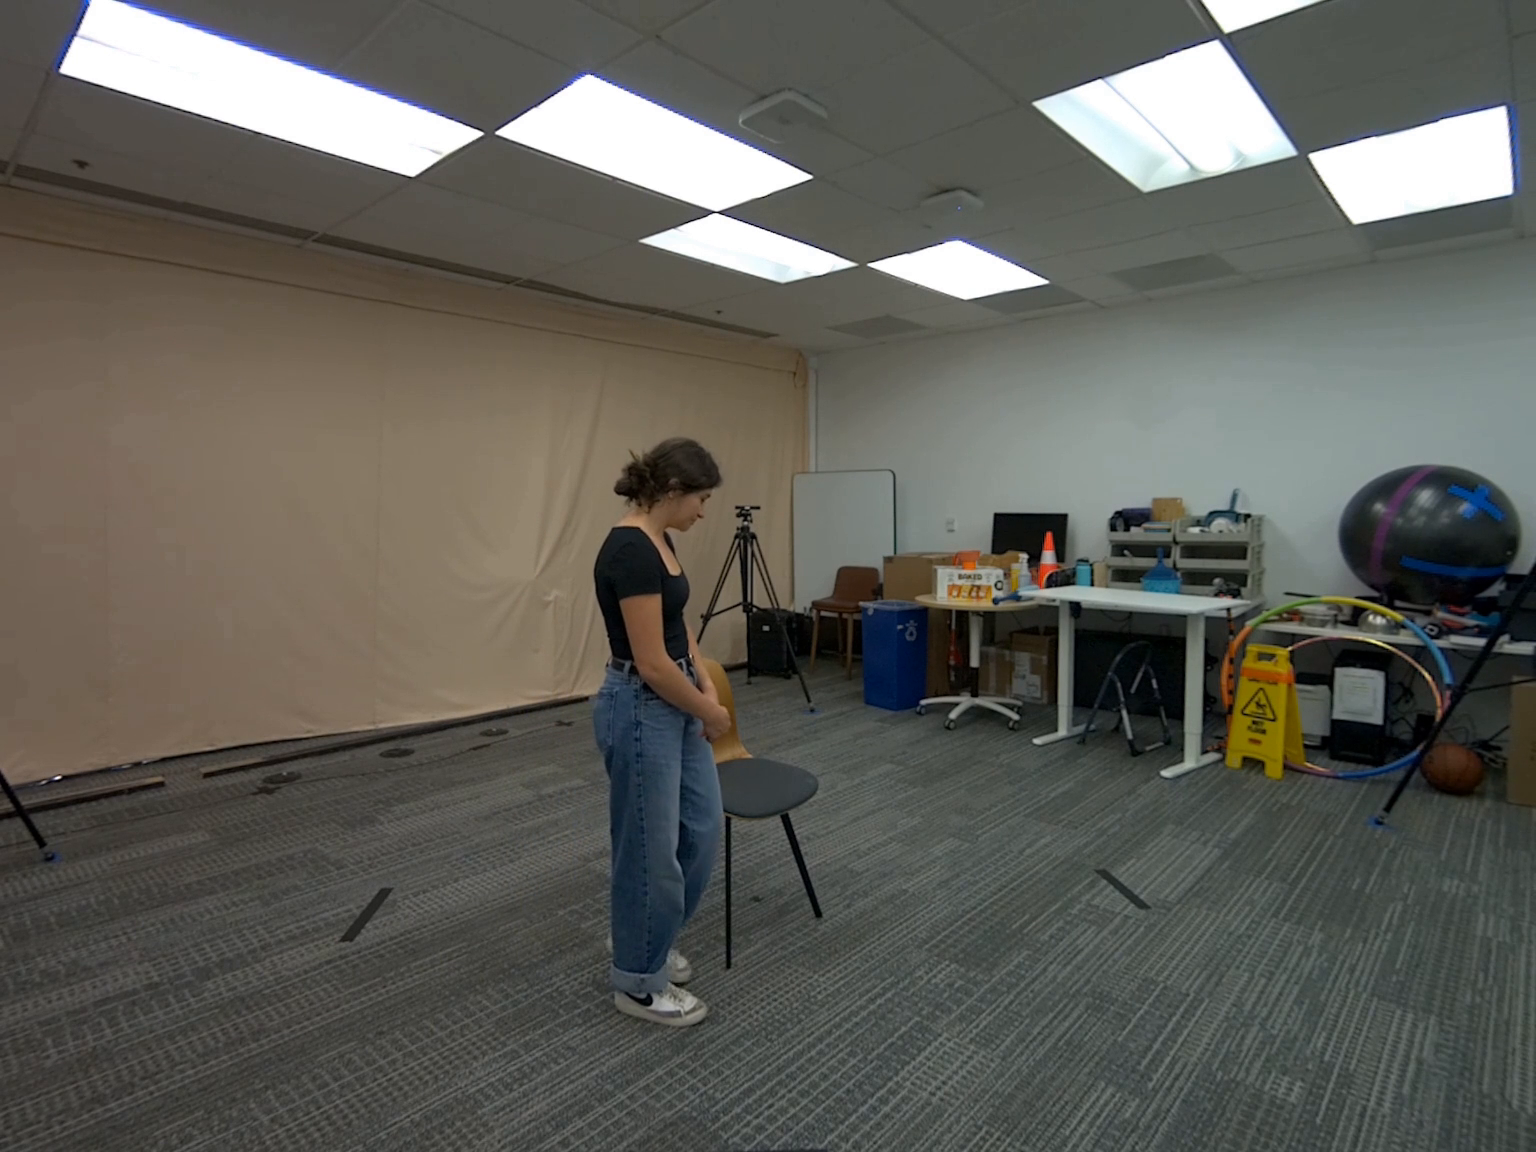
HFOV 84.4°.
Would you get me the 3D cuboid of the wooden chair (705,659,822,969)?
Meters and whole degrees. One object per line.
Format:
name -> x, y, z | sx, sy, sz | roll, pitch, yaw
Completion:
wooden chair -> -0.126, 0.732, 2.815 | 0.539, 0.877, 0.463 | -3, 0, 44
